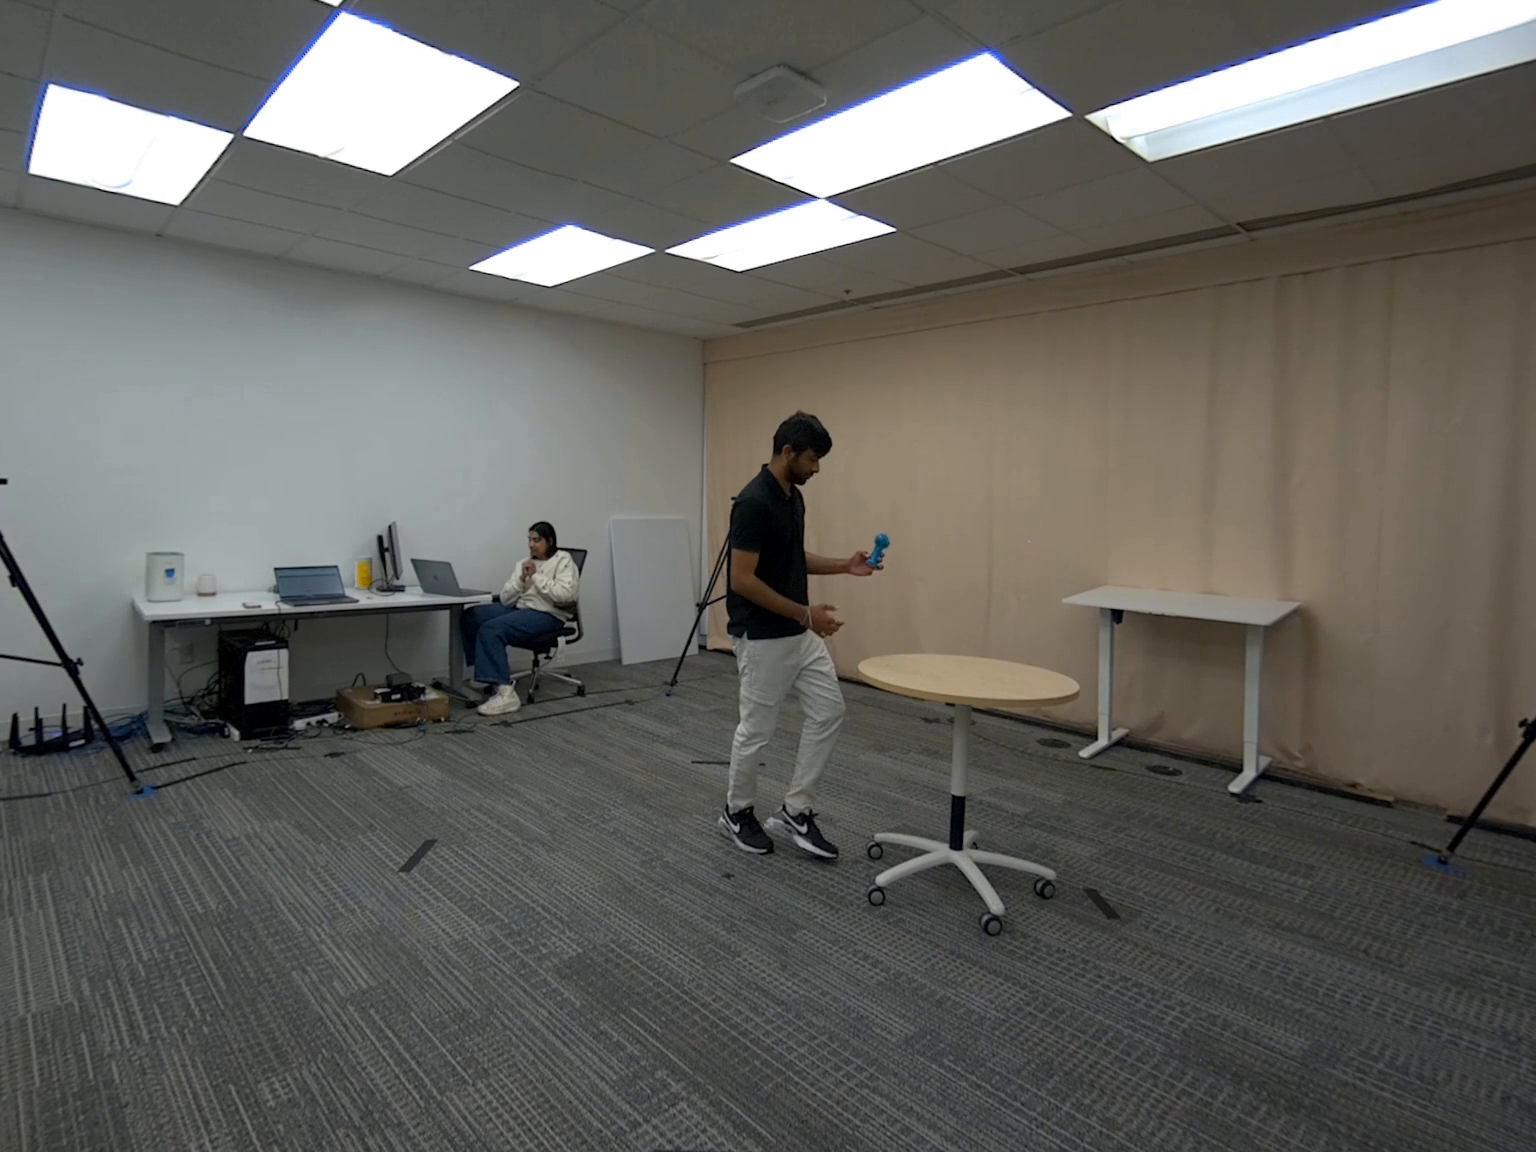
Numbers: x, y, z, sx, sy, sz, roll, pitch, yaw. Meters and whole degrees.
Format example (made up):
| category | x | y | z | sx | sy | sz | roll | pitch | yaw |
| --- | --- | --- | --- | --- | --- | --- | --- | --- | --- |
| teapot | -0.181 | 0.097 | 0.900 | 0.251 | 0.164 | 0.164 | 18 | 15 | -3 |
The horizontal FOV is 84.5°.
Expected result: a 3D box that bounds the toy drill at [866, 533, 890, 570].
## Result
| category | x | y | z | sx | sy | sz | roll | pitch | yaw |
| --- | --- | --- | --- | --- | --- | --- | --- | --- | --- |
| toy drill | 0.431 | -0.100 | 3.329 | 0.062 | 0.146 | 0.167 | 23 | -3 | 11 |
